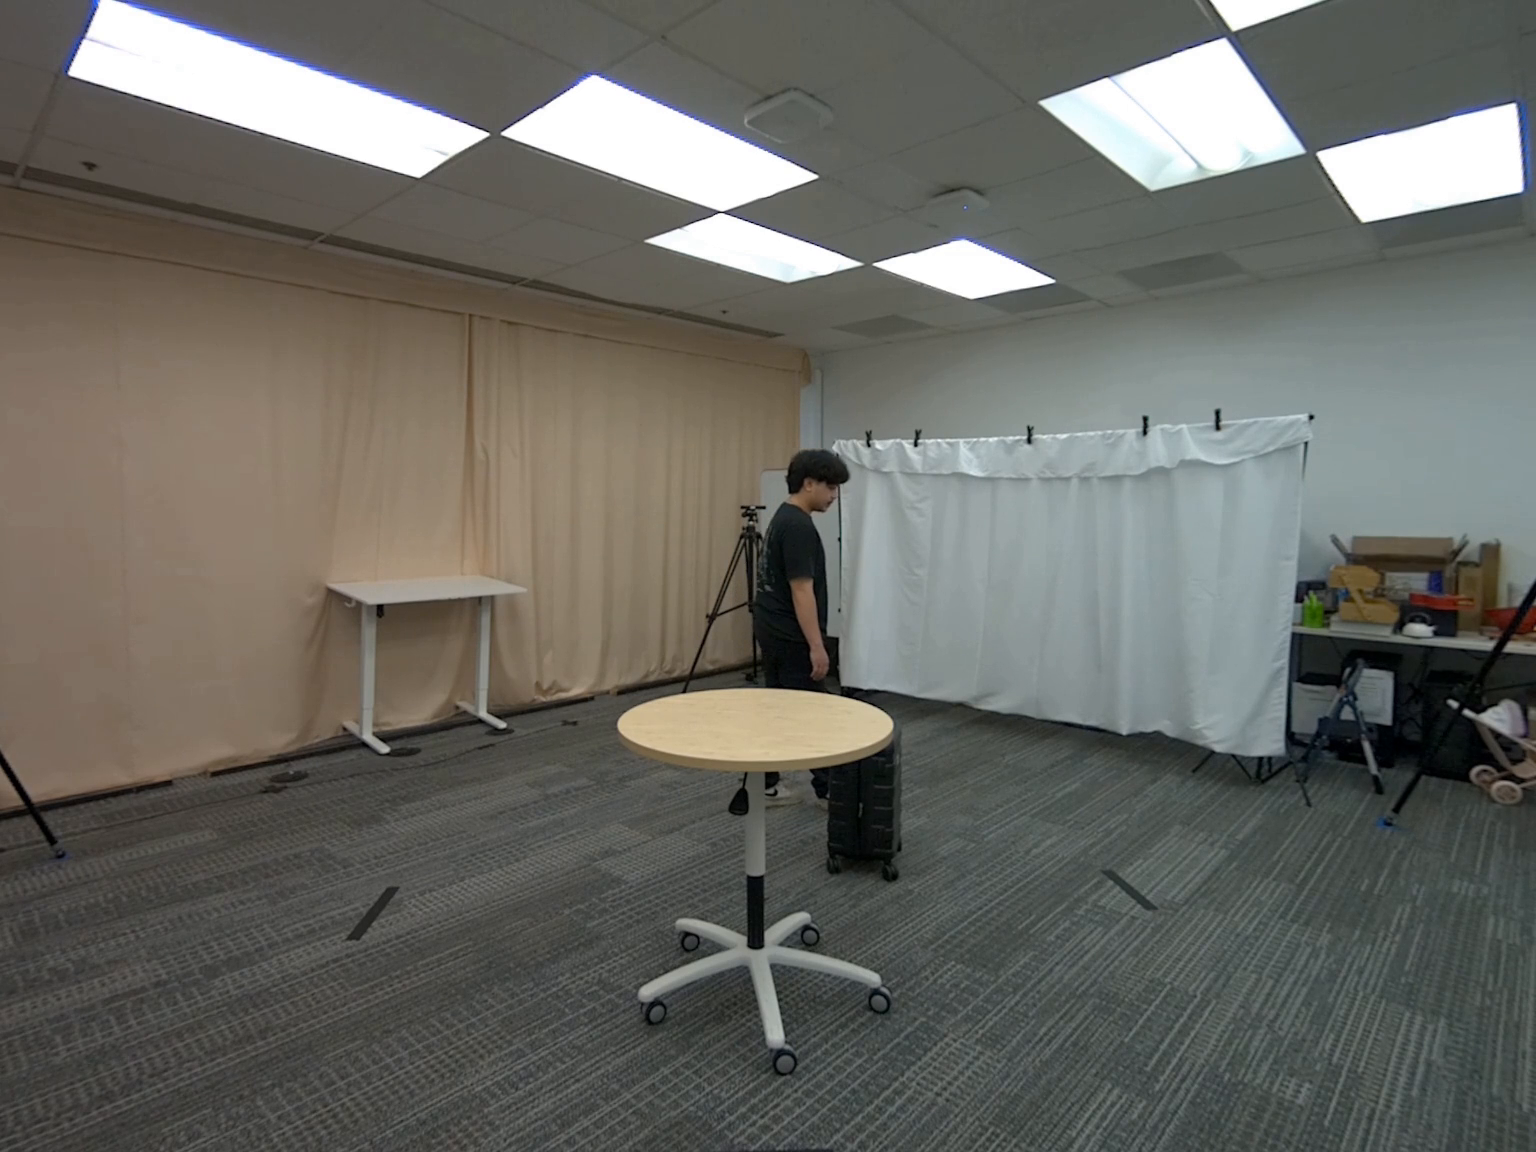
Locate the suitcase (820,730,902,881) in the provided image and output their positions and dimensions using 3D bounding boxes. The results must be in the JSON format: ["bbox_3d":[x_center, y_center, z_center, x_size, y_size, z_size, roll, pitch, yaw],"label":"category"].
[{"bbox_3d":[0.395,0.840,3.310,0.252,0.549,0.369,1,2,15],"label":"suitcase"}]
